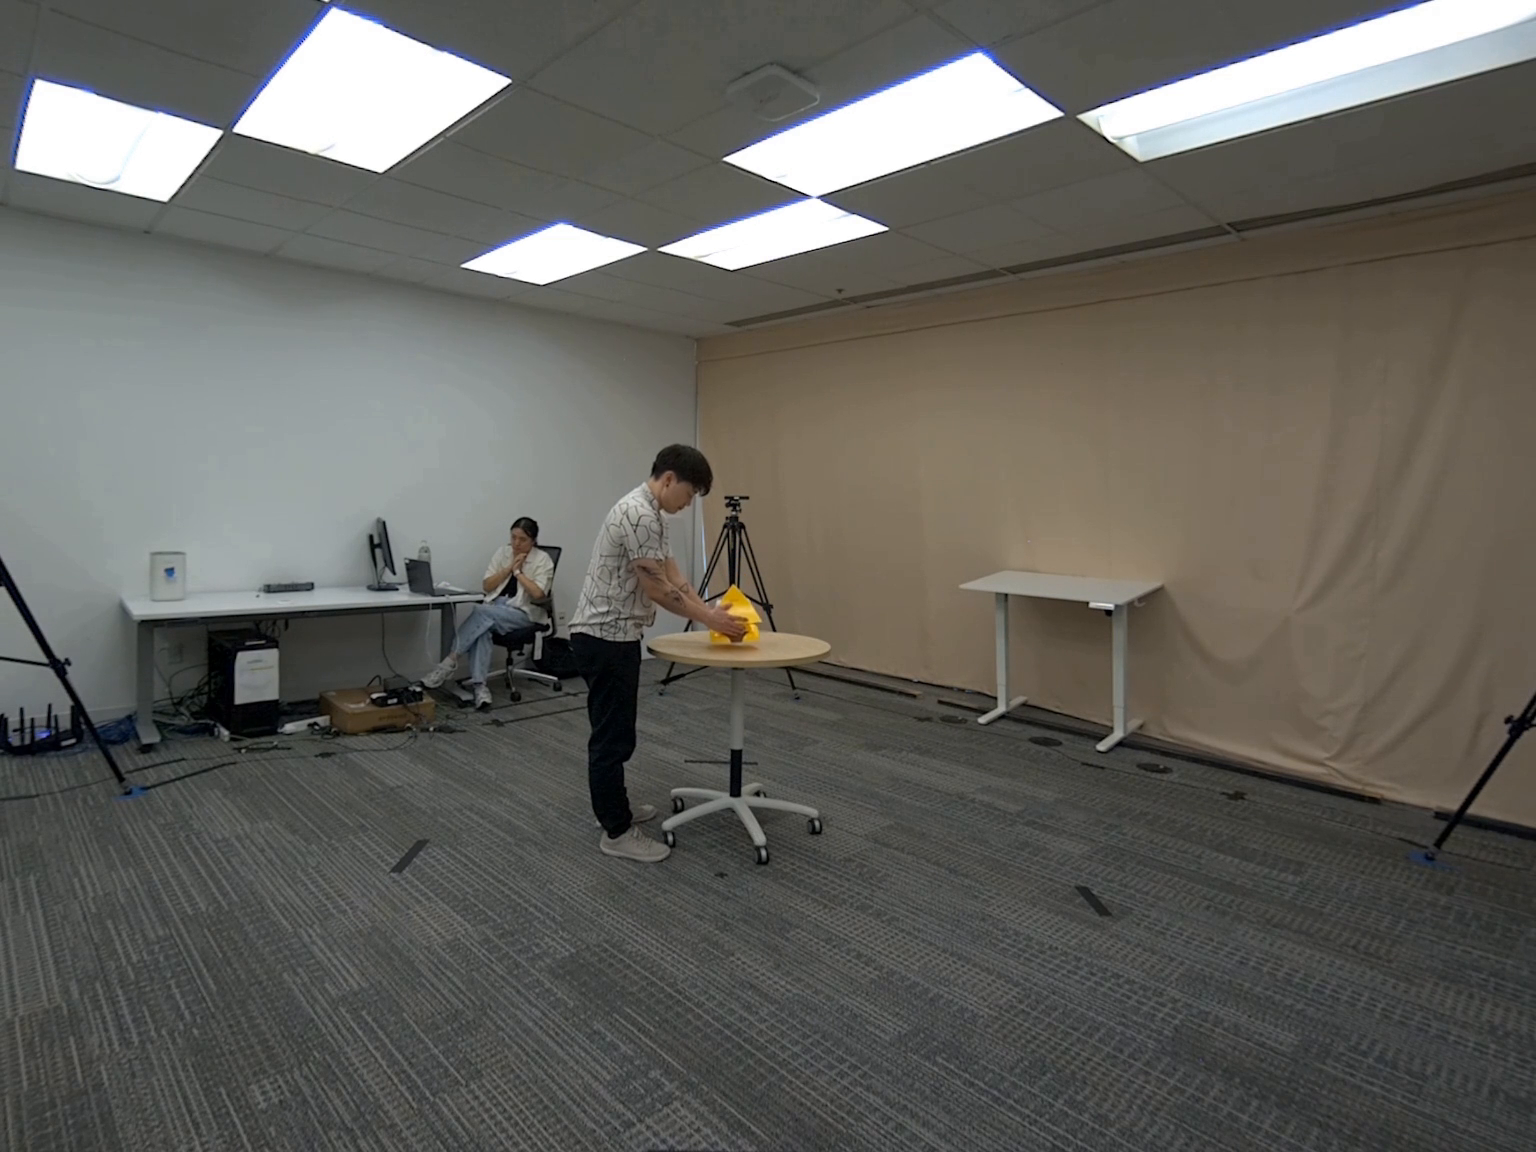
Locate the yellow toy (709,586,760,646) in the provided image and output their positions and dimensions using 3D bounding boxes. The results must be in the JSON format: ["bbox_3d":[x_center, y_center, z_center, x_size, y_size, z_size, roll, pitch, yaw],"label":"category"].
[{"bbox_3d":[-0.151,0.144,3.390,0.204,0.230,0.194,-4,3,-6],"label":"yellow toy"}]
